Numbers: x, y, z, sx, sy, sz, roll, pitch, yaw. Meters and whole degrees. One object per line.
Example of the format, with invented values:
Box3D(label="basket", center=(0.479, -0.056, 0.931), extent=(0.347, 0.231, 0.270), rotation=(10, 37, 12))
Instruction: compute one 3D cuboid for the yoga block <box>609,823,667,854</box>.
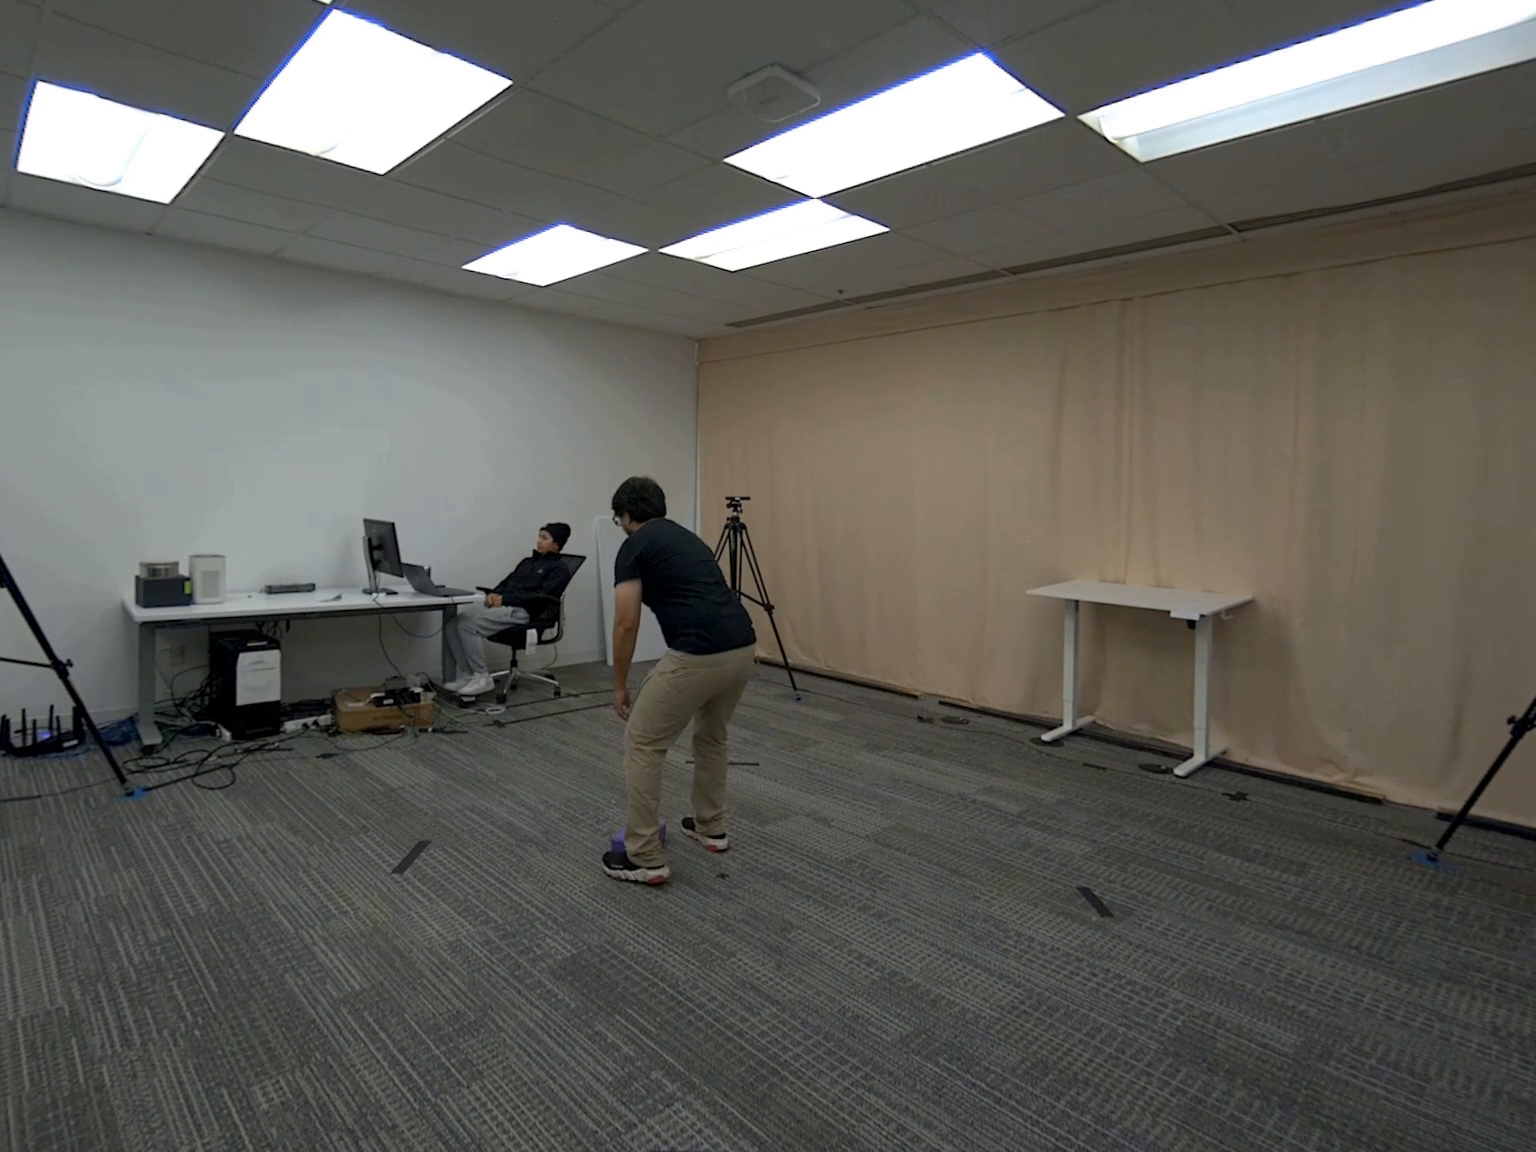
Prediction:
Box3D(label="yoga block", center=(-0.516, 1.042, 3.325), extent=(0.151, 0.076, 0.227), rotation=(3, 5, 14))
